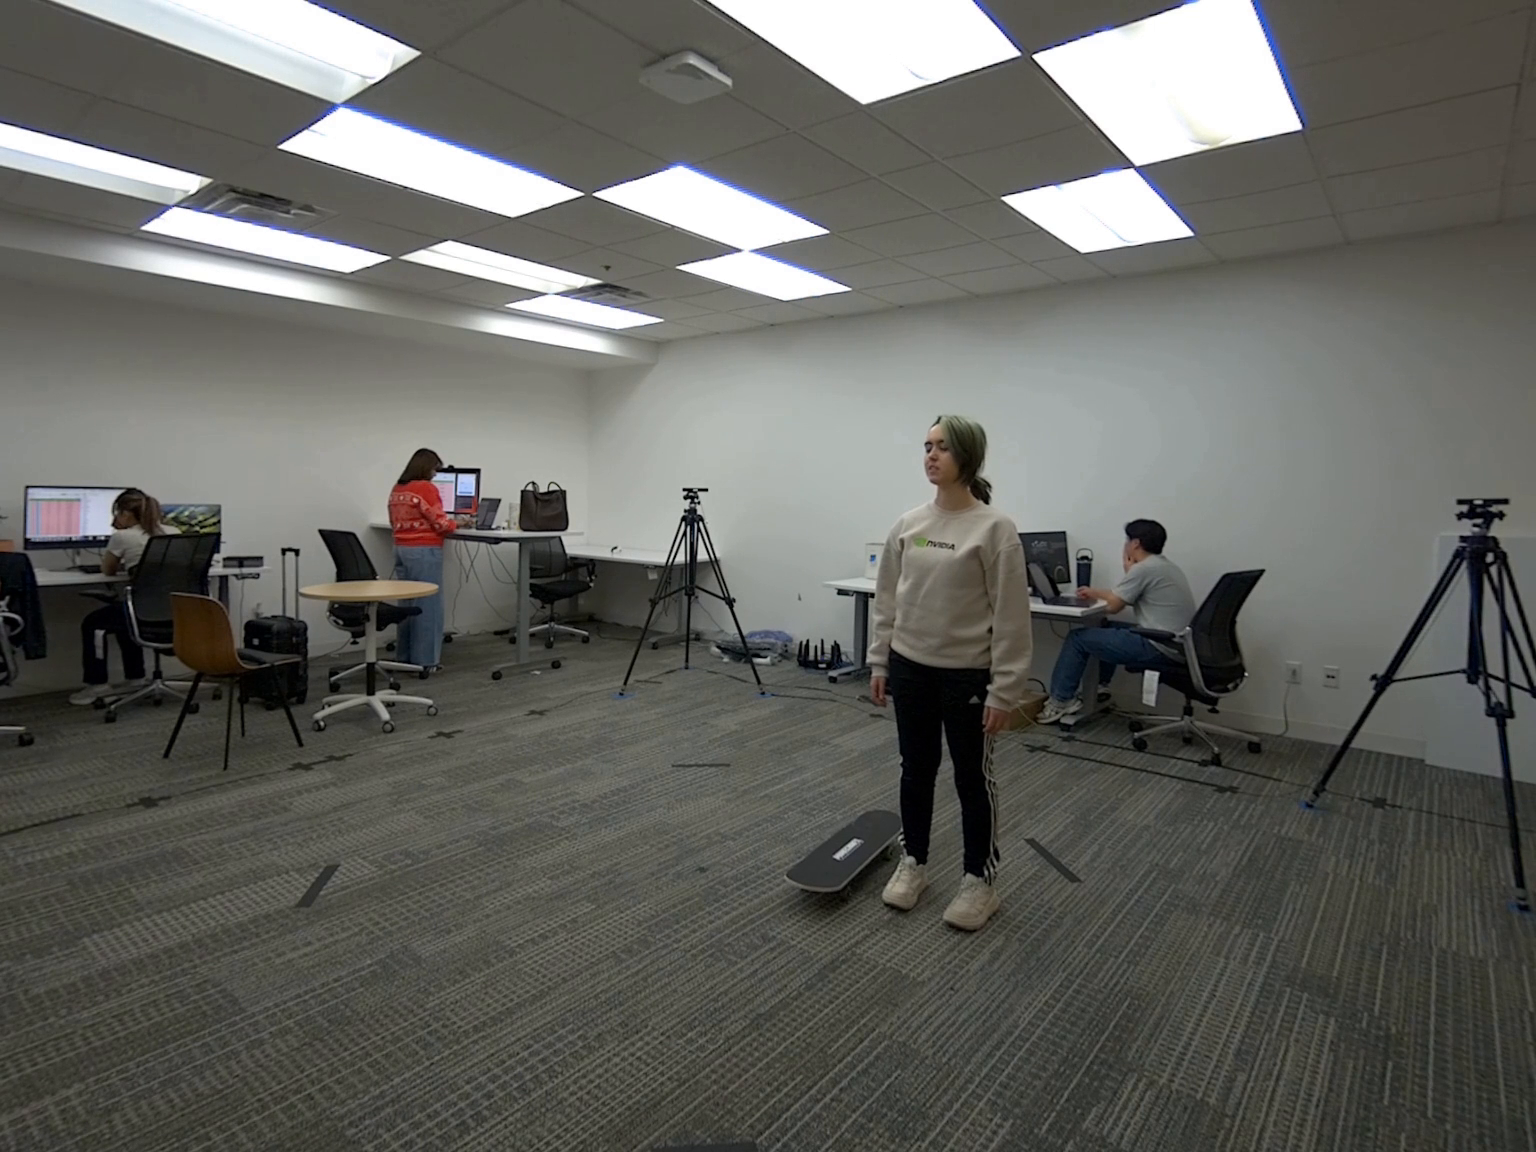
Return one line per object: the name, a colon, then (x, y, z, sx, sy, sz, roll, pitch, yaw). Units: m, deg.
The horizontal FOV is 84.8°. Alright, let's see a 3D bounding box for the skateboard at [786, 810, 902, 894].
skateboard: (0.294, 1.027, 3.106, 0.199, 0.110, 0.766, 6, 7, 29)
